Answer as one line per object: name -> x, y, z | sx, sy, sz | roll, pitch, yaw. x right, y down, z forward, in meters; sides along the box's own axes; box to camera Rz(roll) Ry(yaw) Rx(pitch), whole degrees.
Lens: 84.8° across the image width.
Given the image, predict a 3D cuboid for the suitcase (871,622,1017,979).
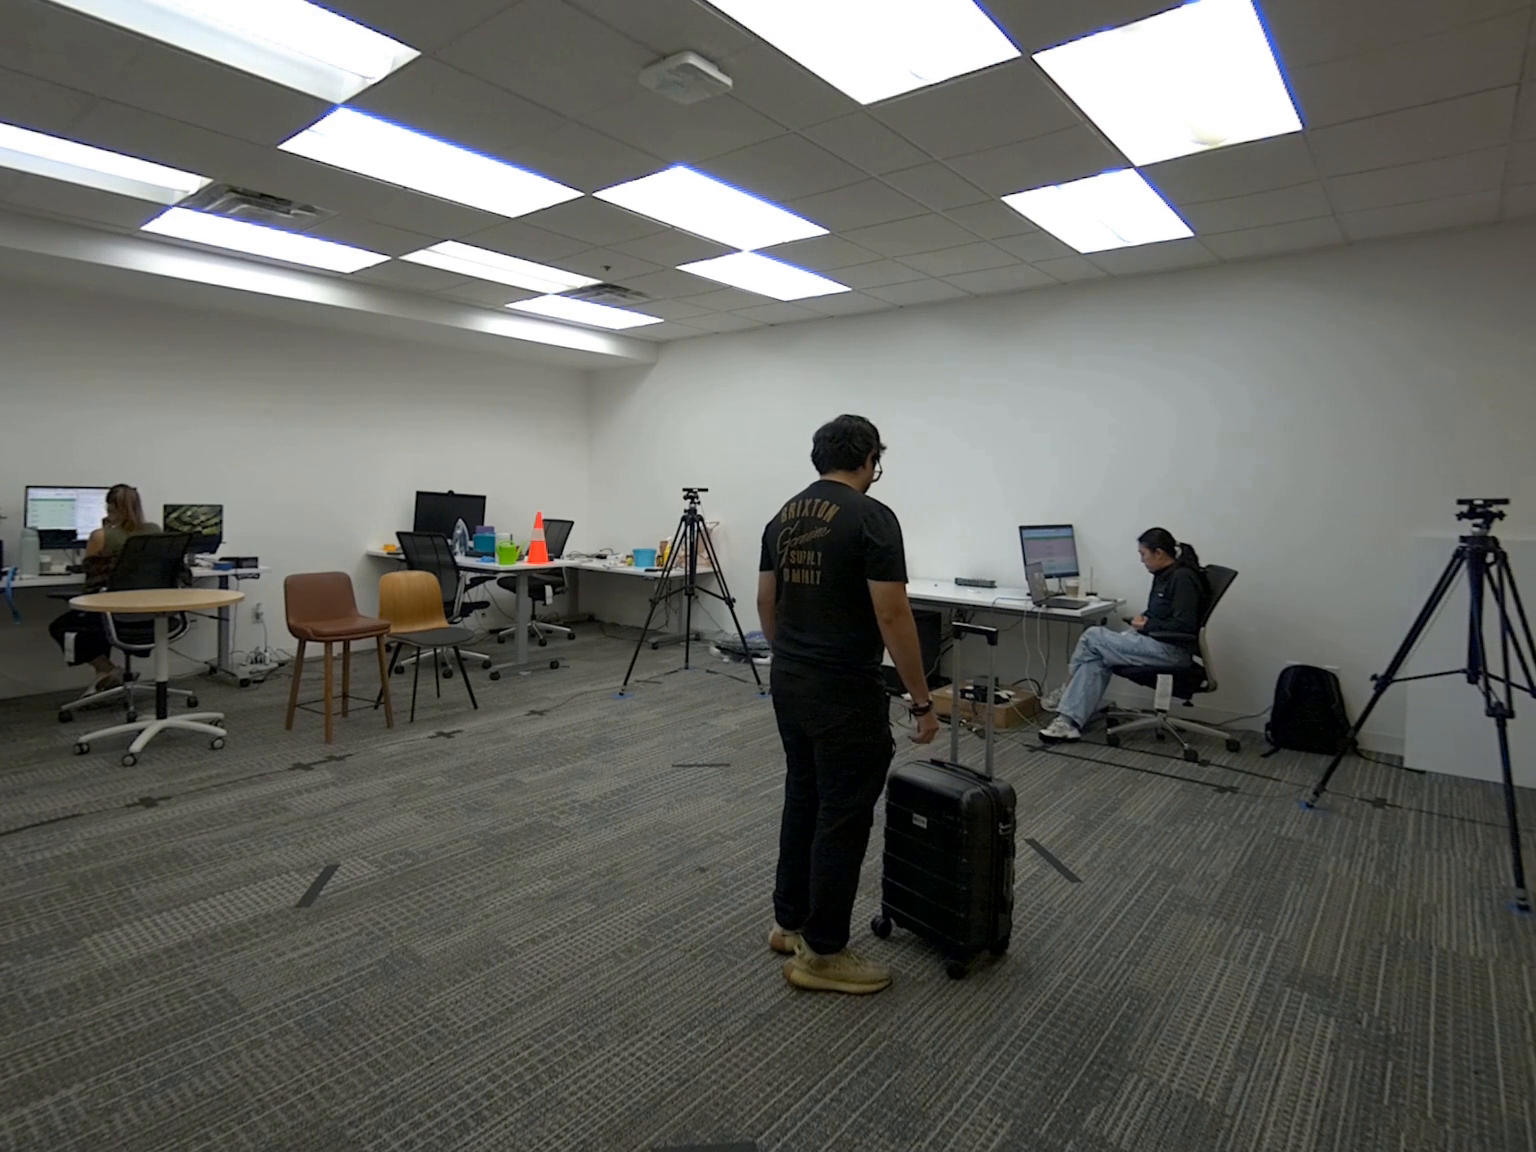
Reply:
suitcase -> 0.562, 0.660, 2.608 | 0.249, 0.976, 0.397 | 0, 4, -40
